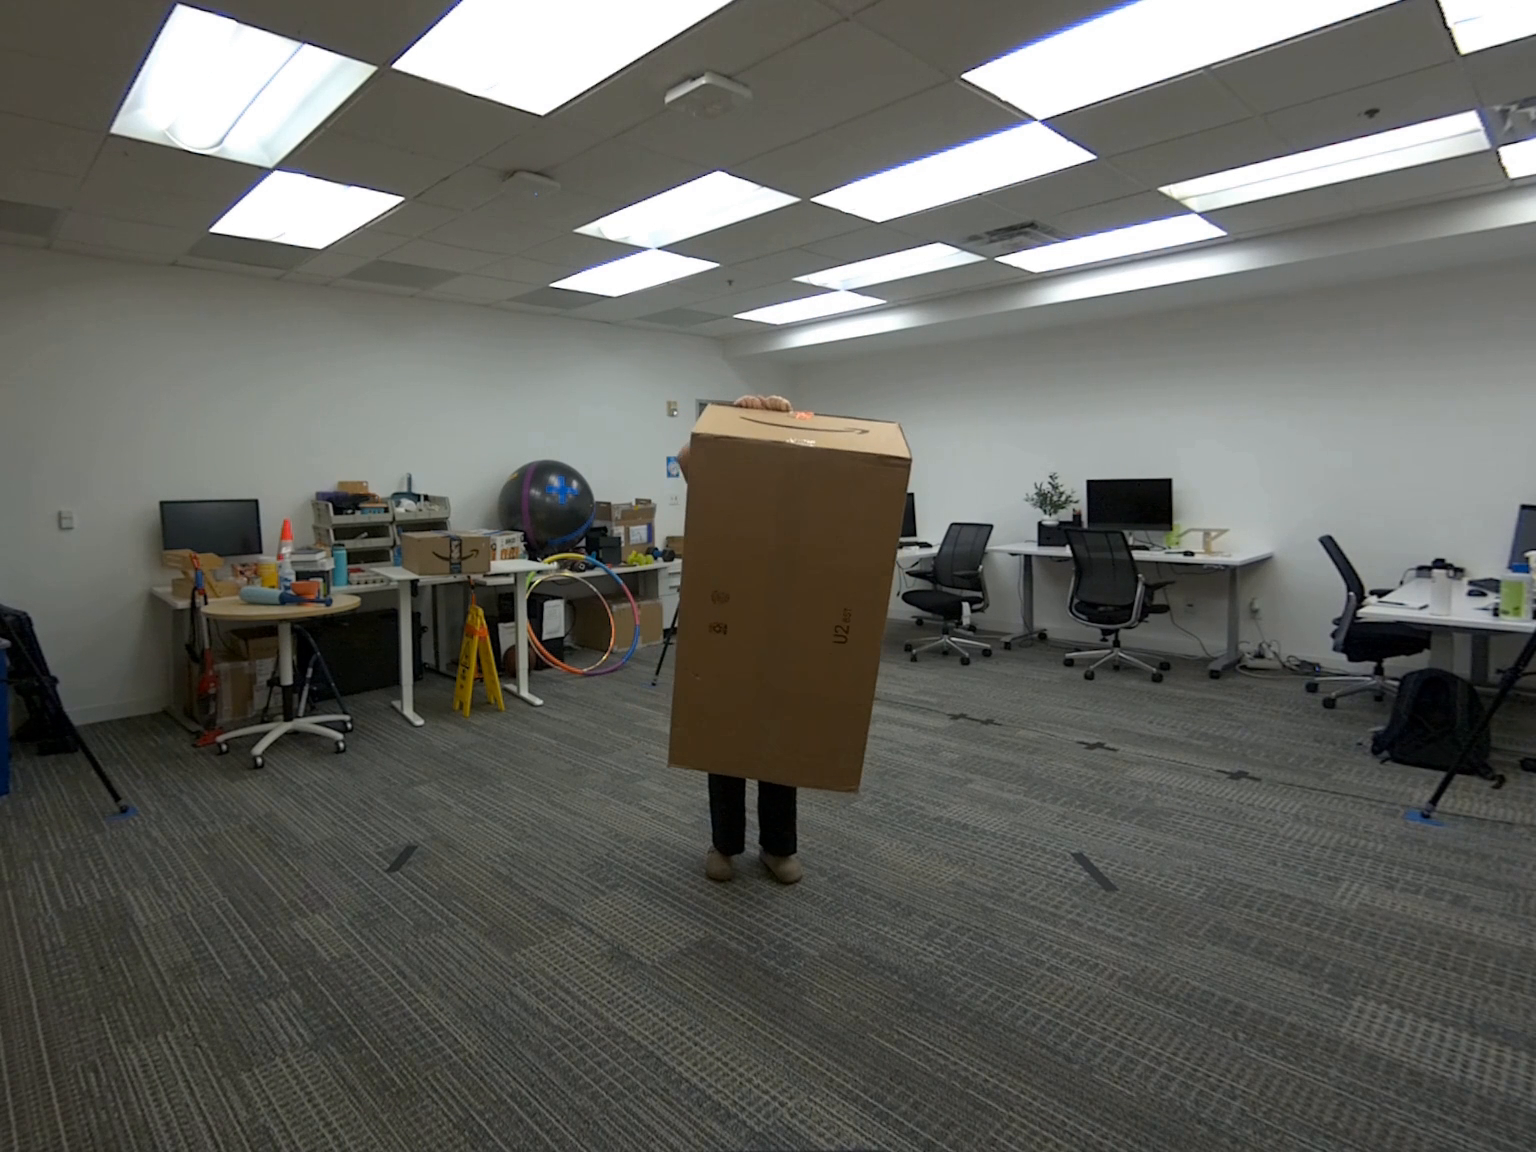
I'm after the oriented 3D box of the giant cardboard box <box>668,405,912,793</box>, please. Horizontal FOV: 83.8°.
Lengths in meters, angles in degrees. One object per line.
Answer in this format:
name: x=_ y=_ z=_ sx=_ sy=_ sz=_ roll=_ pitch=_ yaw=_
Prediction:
giant cardboard box: x=0.047 y=0.050 z=2.539 sx=0.580 sy=1.010 sz=0.431 roll=7 pitch=20 yaw=4
